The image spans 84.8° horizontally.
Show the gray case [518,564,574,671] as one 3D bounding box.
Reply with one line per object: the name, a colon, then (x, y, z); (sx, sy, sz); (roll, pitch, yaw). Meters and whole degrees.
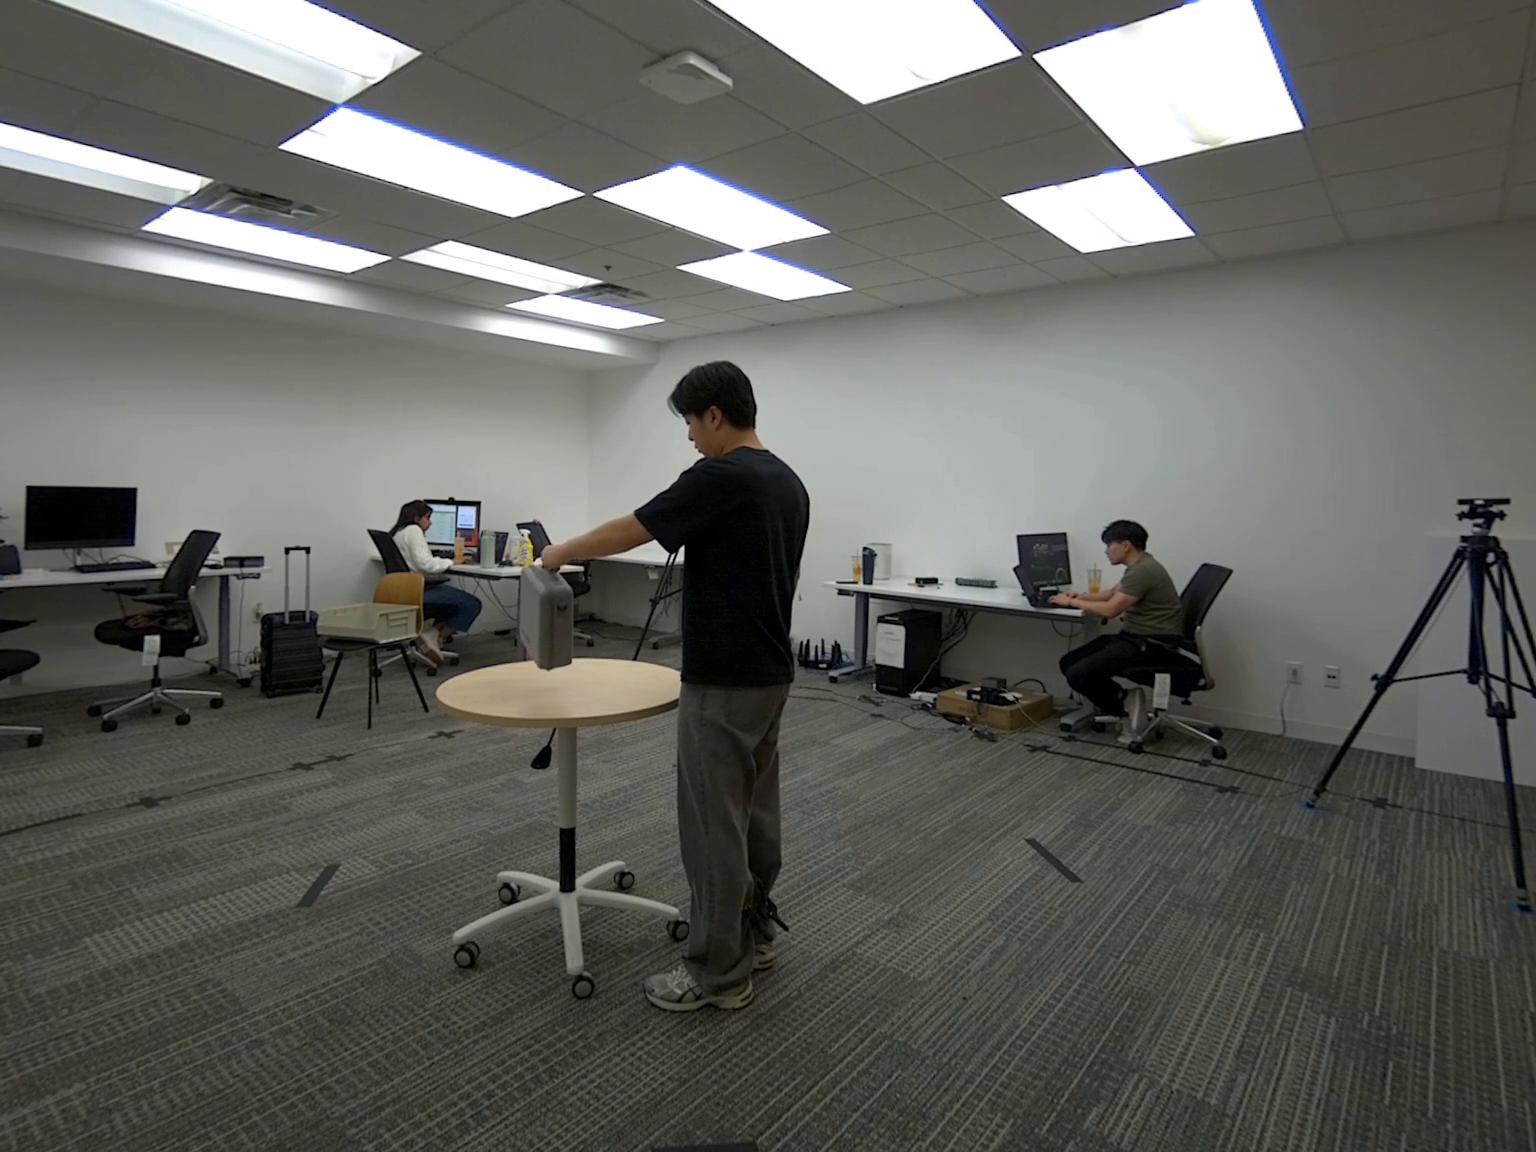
gray case: (-0.654, 0.096, 2.515); (0.100, 0.283, 0.273); (-3, 19, -30)
